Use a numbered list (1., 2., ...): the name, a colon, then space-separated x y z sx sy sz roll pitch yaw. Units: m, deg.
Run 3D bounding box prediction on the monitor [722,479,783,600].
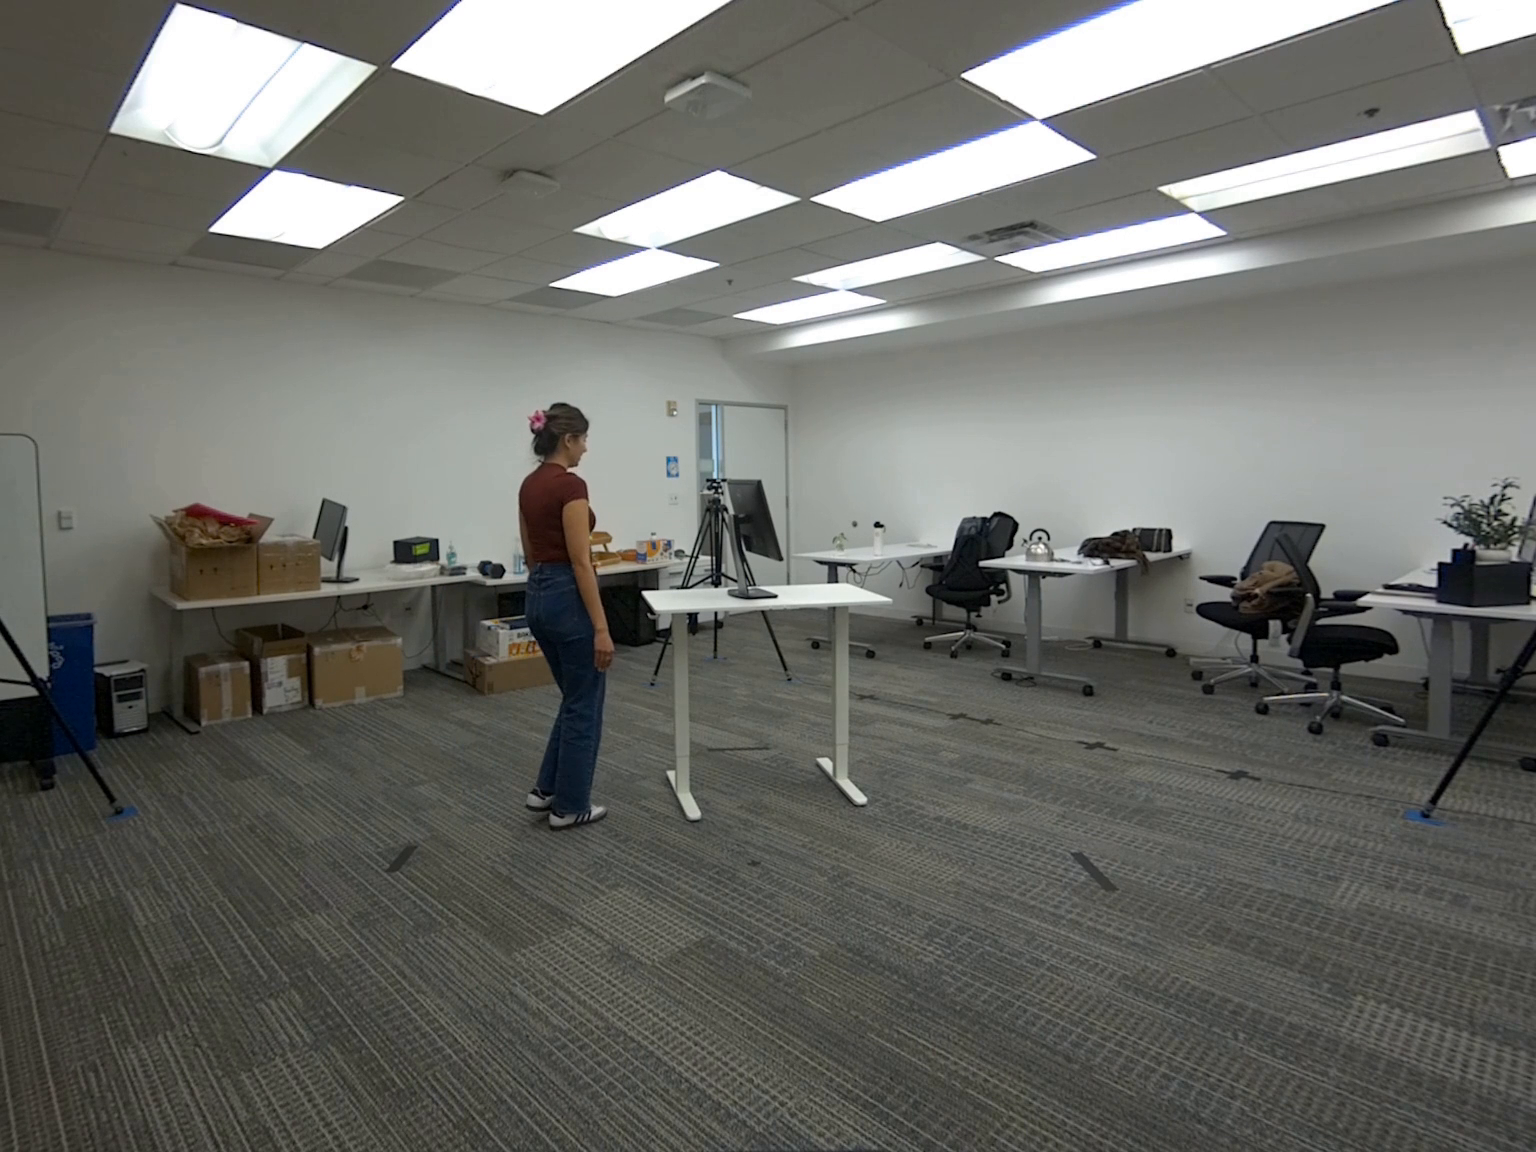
1. monitor: -0.095 -0.167 3.784 0.184 0.520 0.550 -4 7 -18
